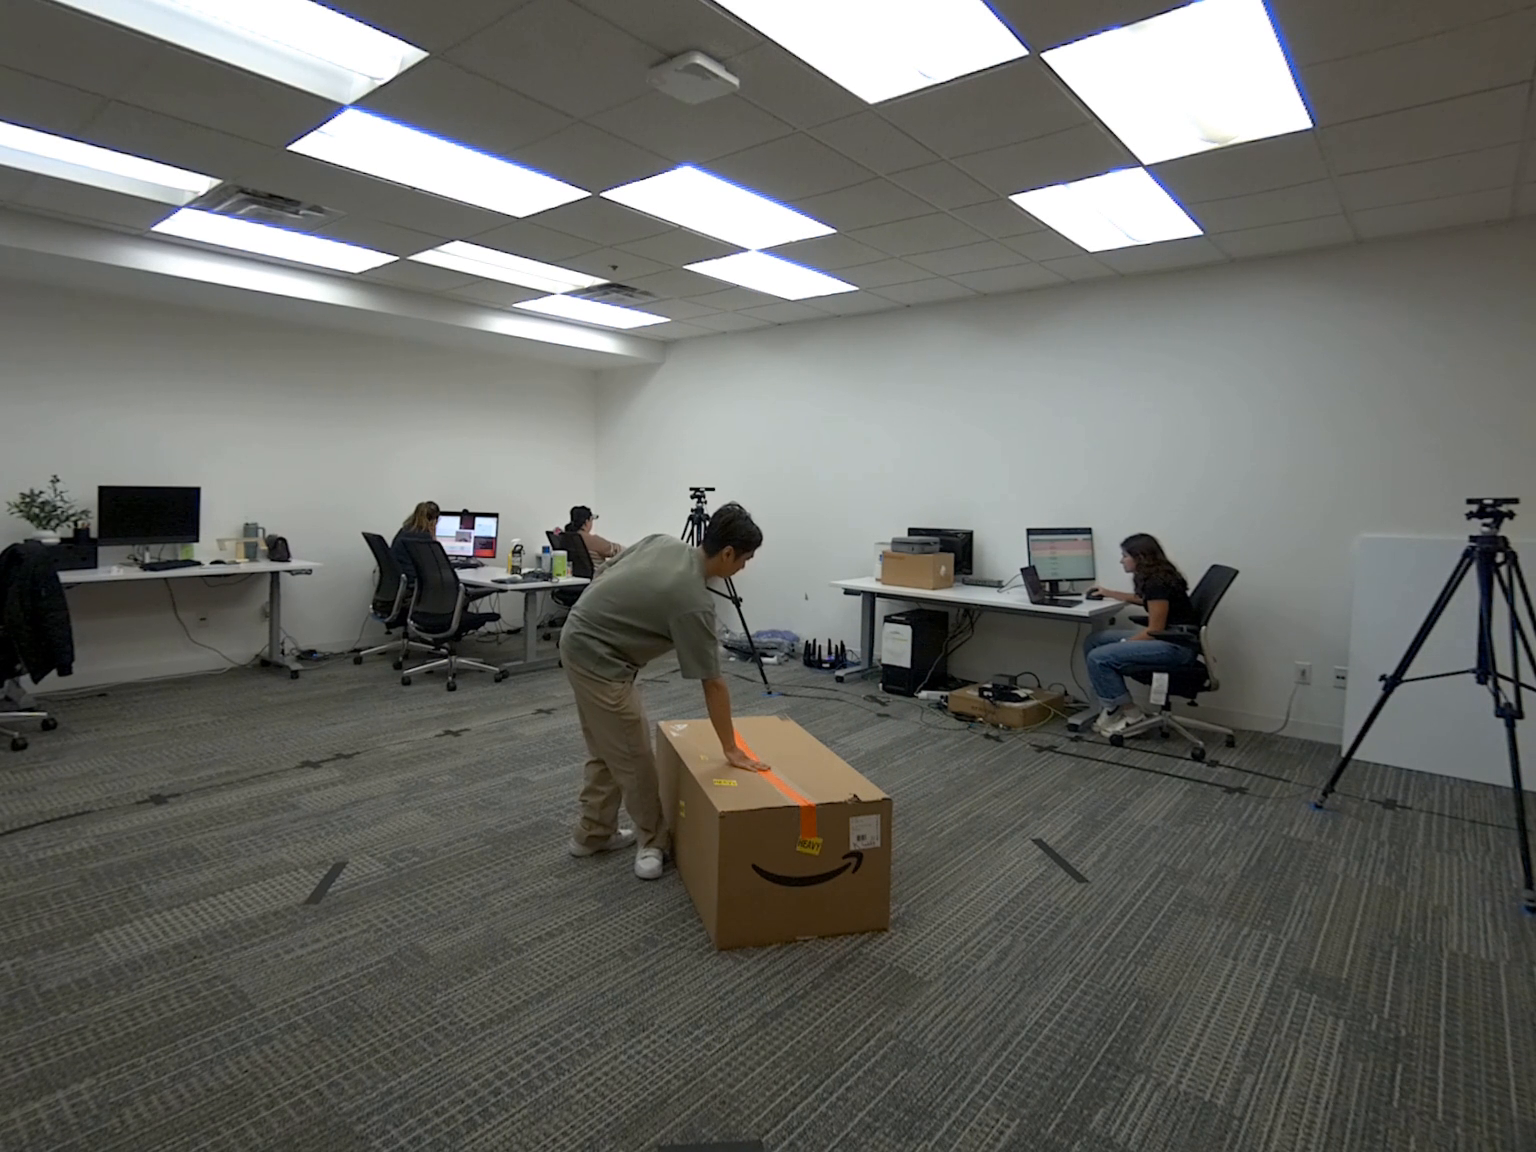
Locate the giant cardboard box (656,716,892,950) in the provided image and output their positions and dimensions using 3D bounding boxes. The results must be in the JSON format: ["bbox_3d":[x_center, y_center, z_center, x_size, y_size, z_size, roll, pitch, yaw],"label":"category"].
[{"bbox_3d":[-0.042,0.857,3.102,0.568,0.424,1.047,-1,6,-17],"label":"giant cardboard box"}]
